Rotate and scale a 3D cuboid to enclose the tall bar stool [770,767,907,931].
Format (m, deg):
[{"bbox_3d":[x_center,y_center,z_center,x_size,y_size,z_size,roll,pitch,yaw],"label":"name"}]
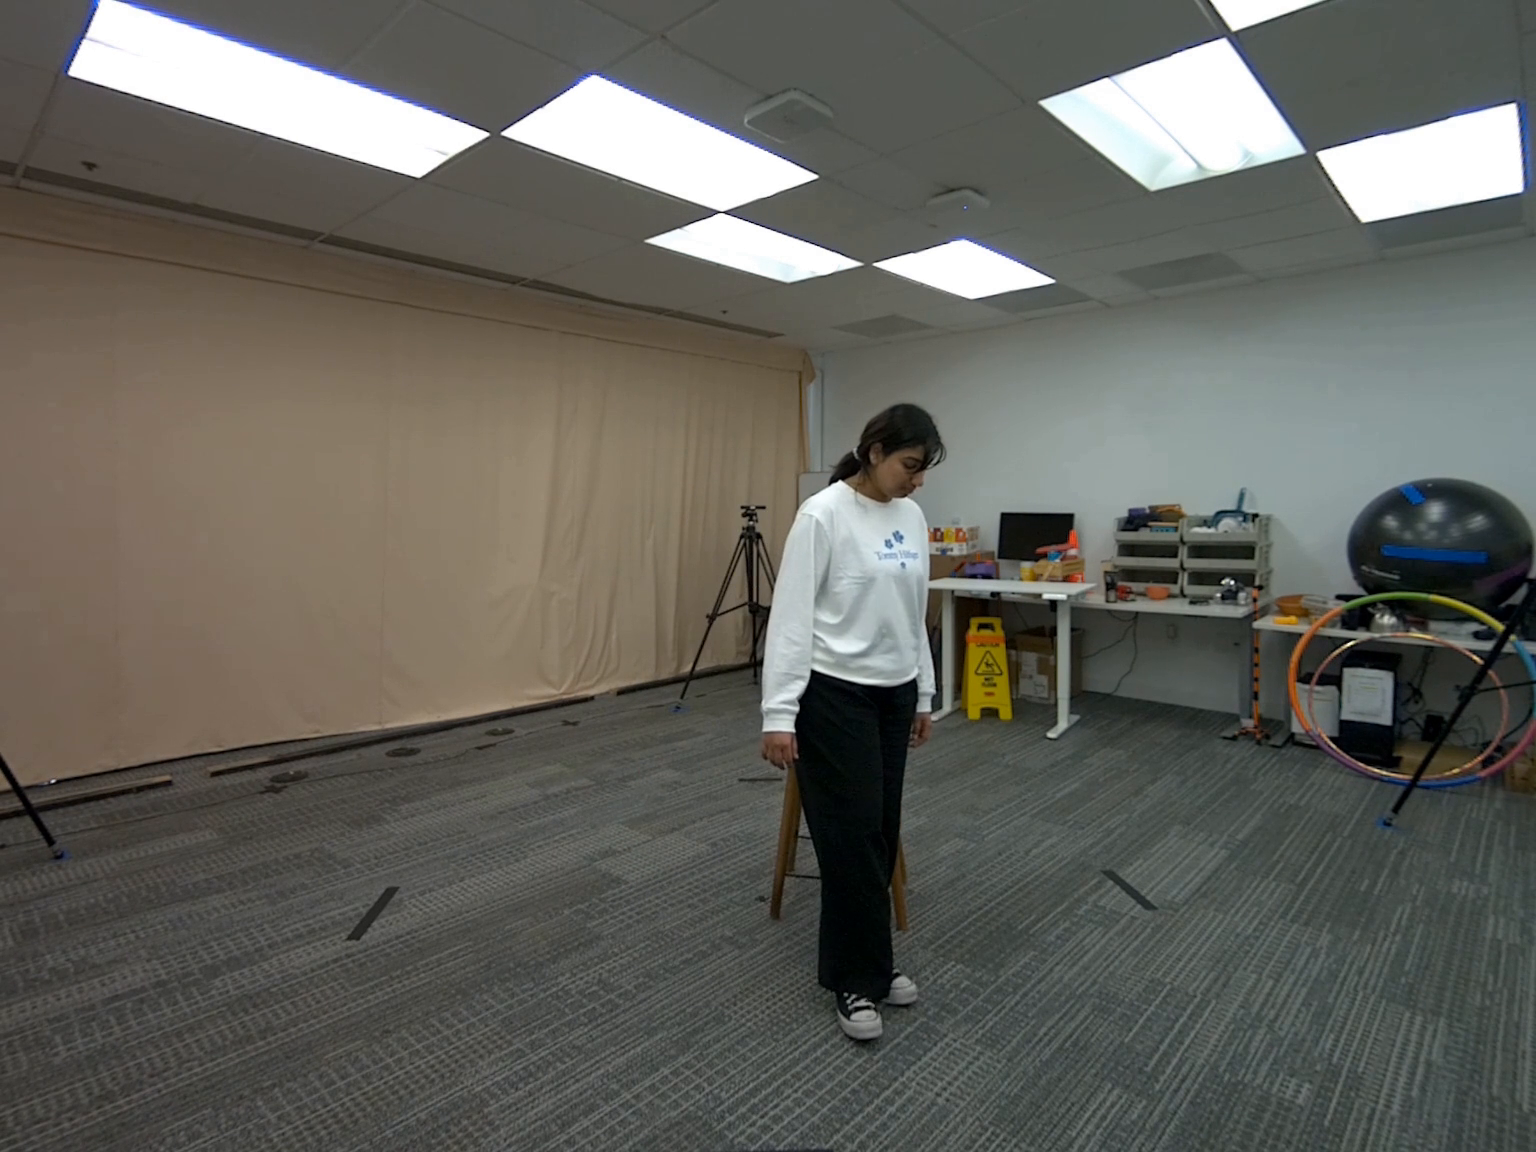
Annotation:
[{"bbox_3d":[0.279,0.711,2.957,0.474,0.887,0.451,3,4,12],"label":"tall bar stool"}]
